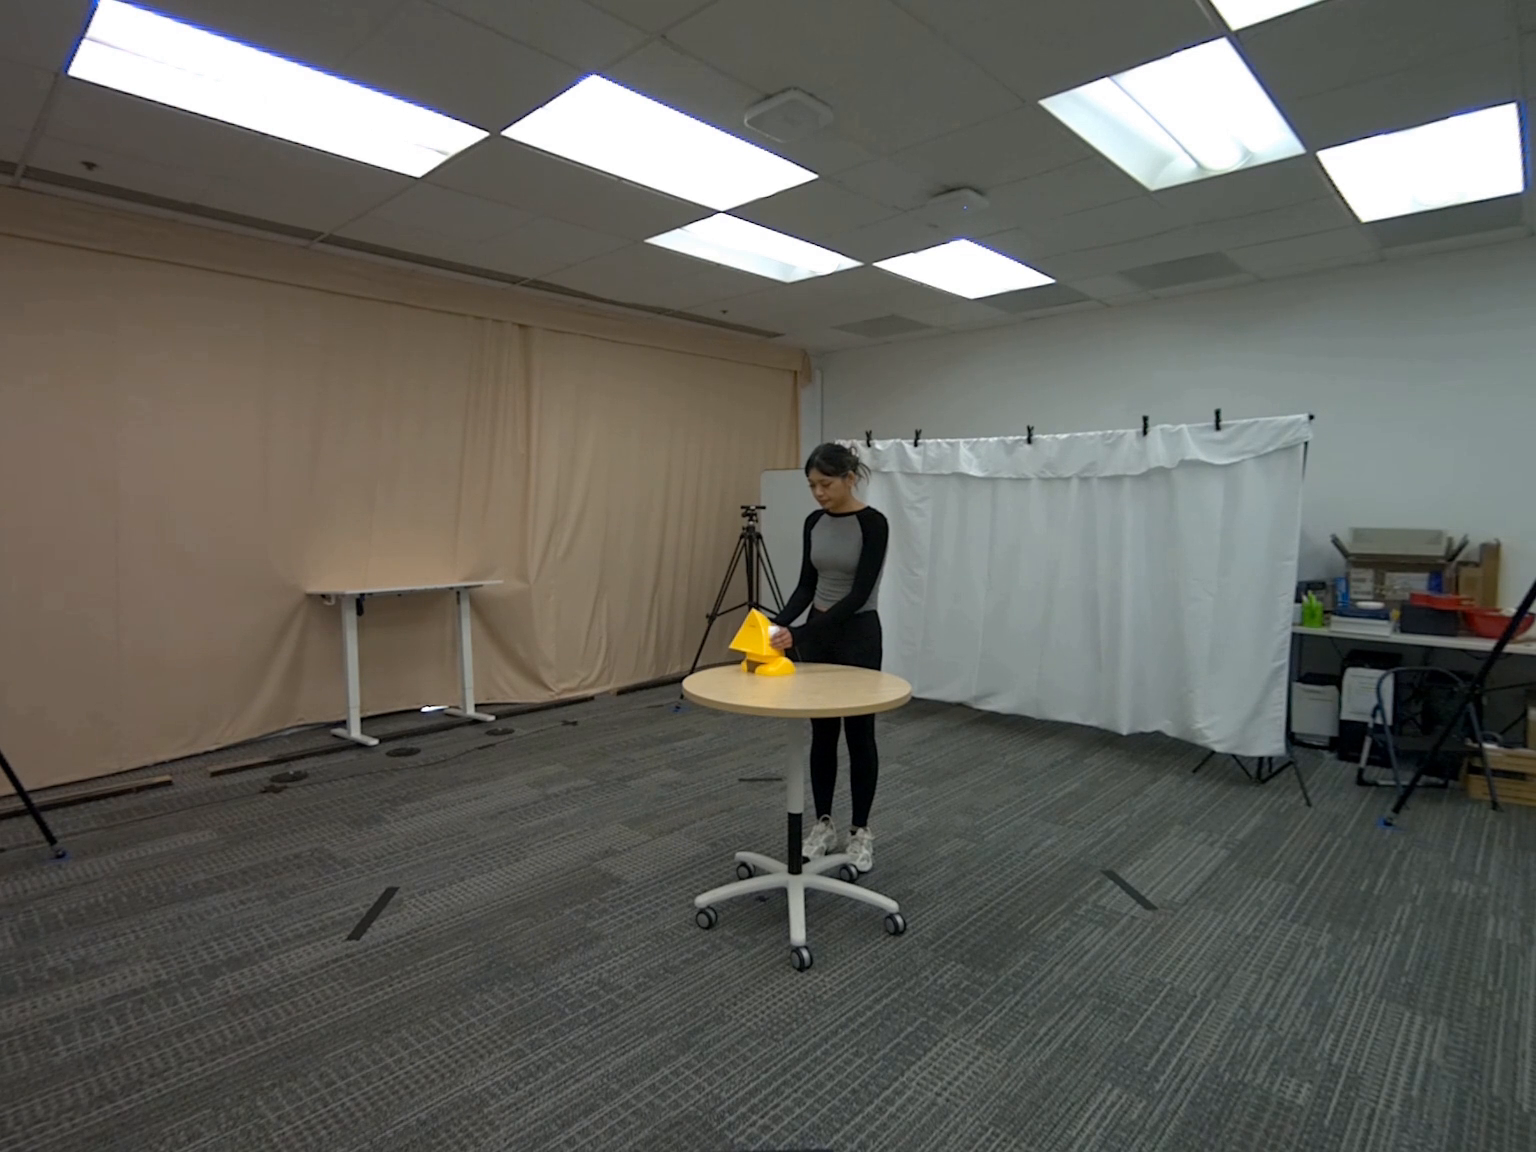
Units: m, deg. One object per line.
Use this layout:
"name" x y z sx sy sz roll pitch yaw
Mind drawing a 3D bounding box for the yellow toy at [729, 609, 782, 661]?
"yellow toy" 0.002 0.233 3.065 0.187 0.230 0.211 -1 3 -39
